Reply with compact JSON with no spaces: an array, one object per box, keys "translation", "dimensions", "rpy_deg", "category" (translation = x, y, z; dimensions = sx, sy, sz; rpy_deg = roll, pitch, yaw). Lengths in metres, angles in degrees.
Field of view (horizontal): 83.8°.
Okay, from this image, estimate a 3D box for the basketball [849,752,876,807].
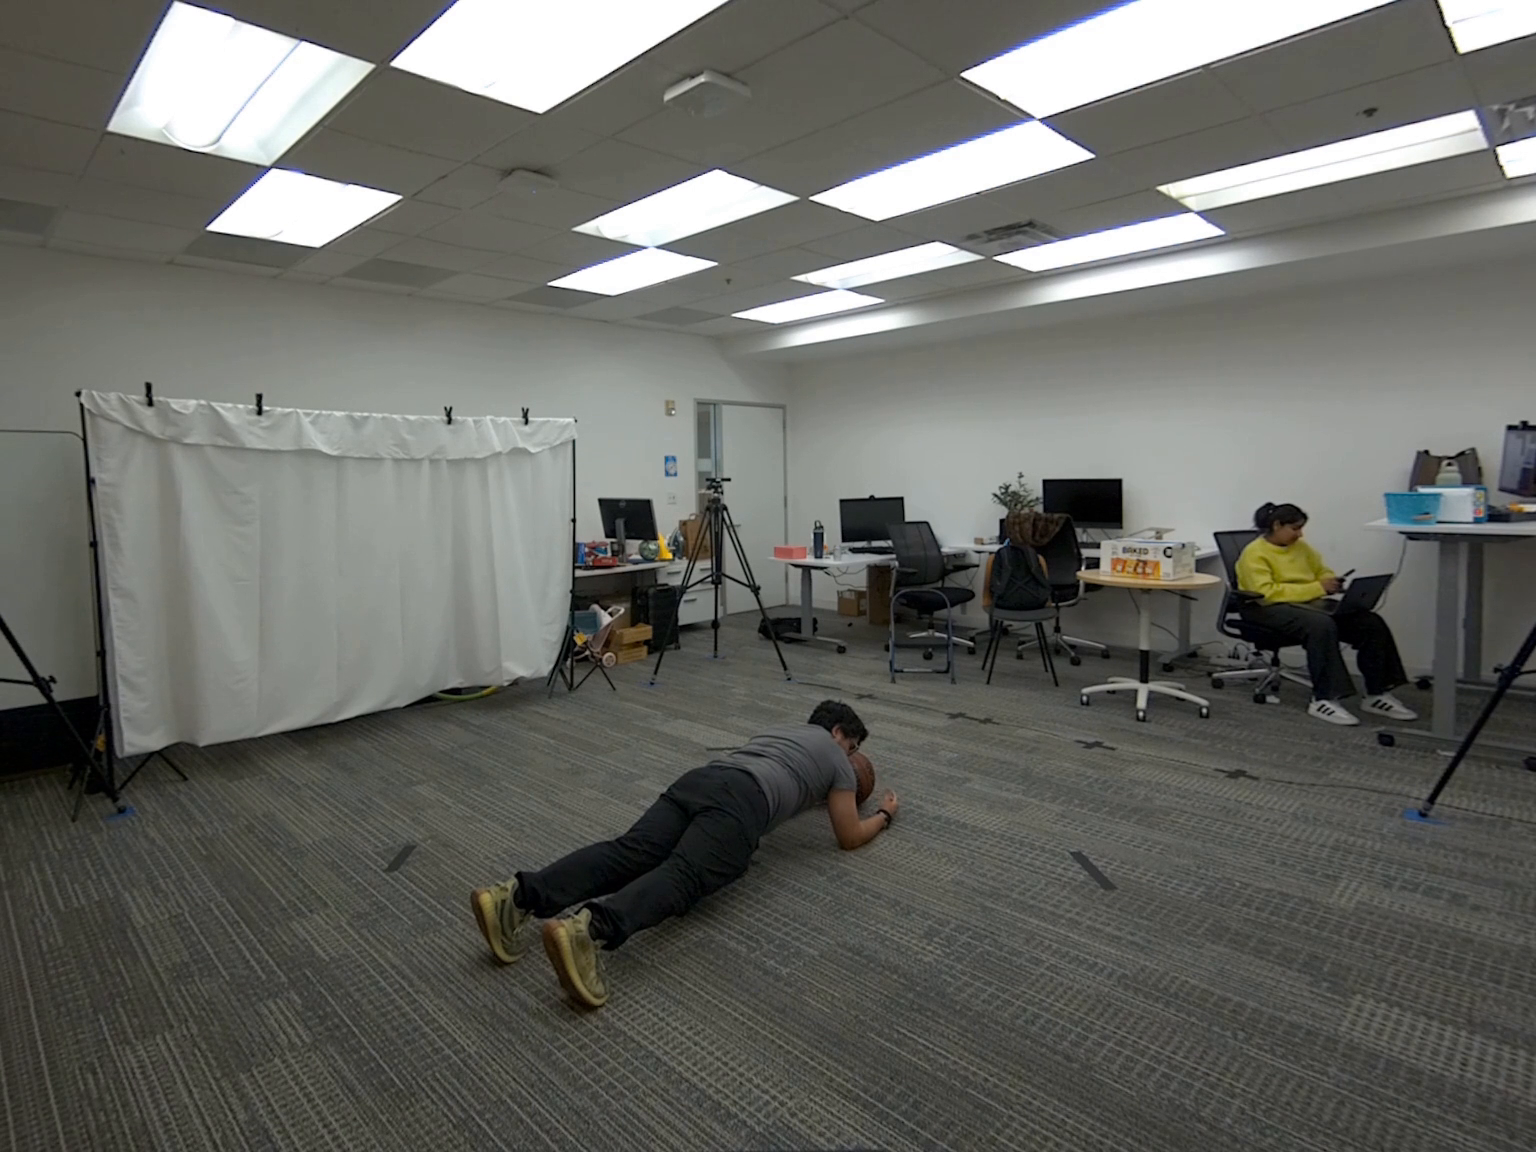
[{"translation":[0.343,0.856,3.632],"dimensions":[0.236,0.235,0.237],"rpy_deg":[-1,5,-2],"category":"basketball"}]
